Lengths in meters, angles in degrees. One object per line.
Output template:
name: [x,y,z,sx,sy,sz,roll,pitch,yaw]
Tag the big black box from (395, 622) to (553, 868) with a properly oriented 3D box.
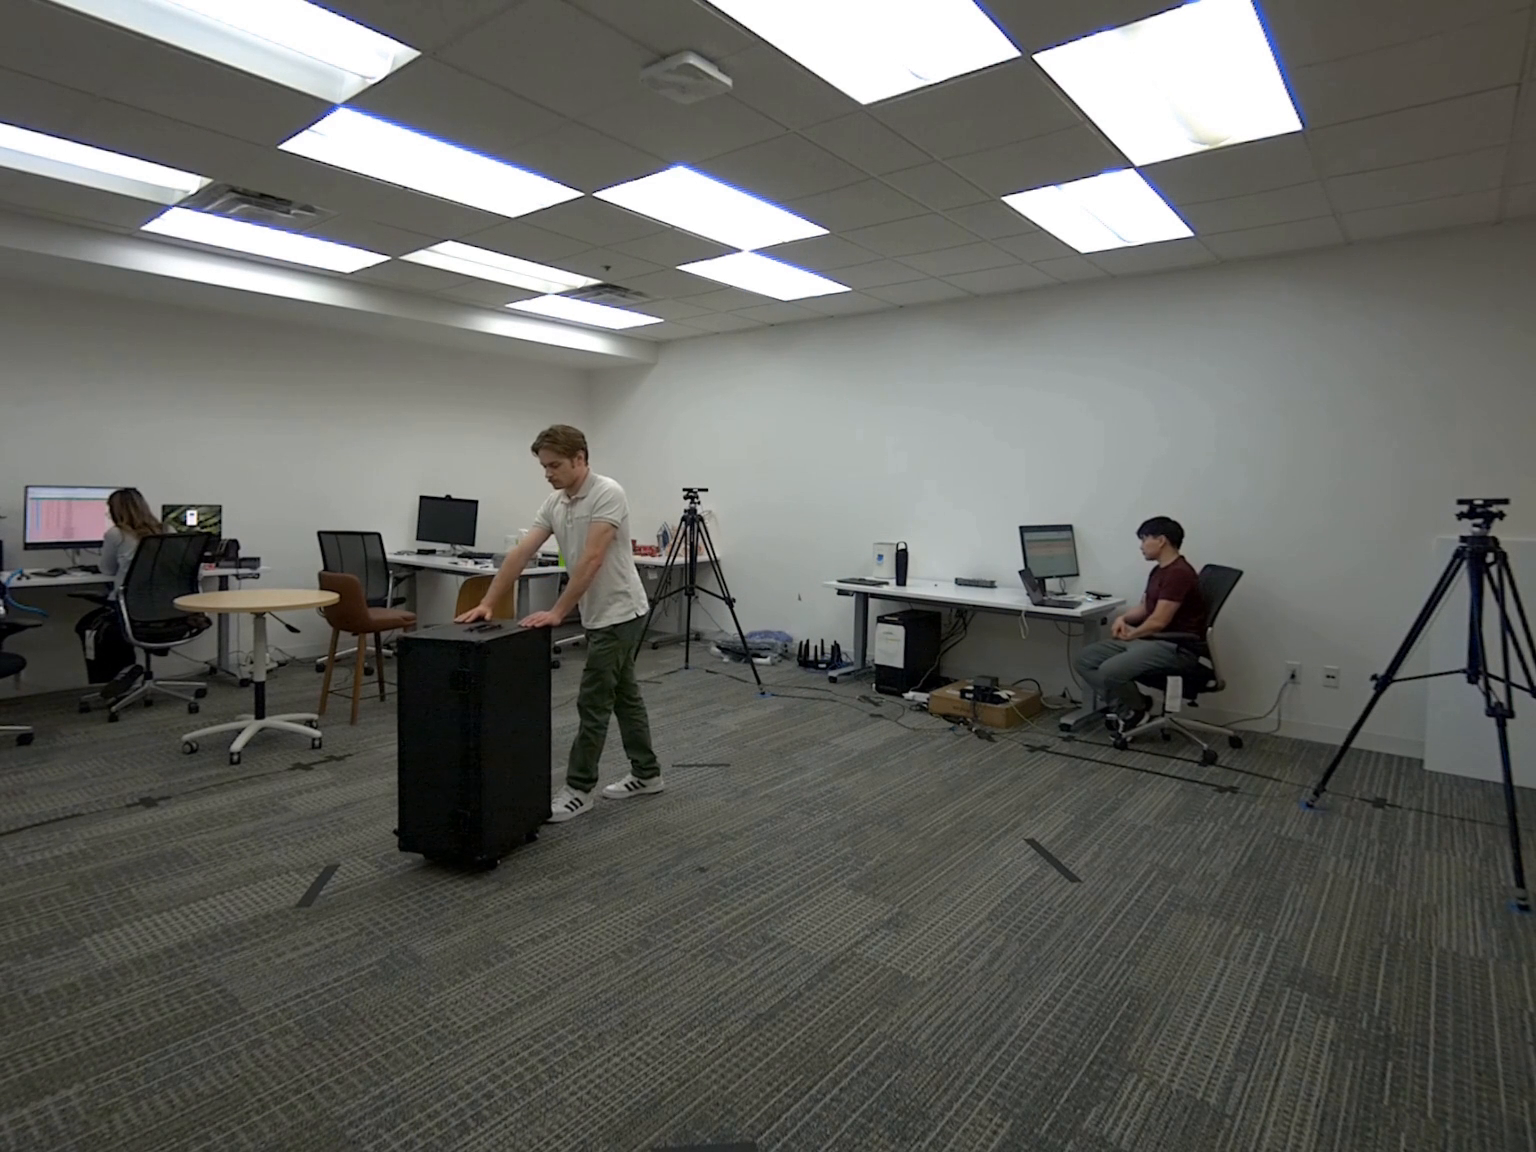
big black box: [-1.114,0.621,3.209,0.393,0.867,0.514,1,3,17]
